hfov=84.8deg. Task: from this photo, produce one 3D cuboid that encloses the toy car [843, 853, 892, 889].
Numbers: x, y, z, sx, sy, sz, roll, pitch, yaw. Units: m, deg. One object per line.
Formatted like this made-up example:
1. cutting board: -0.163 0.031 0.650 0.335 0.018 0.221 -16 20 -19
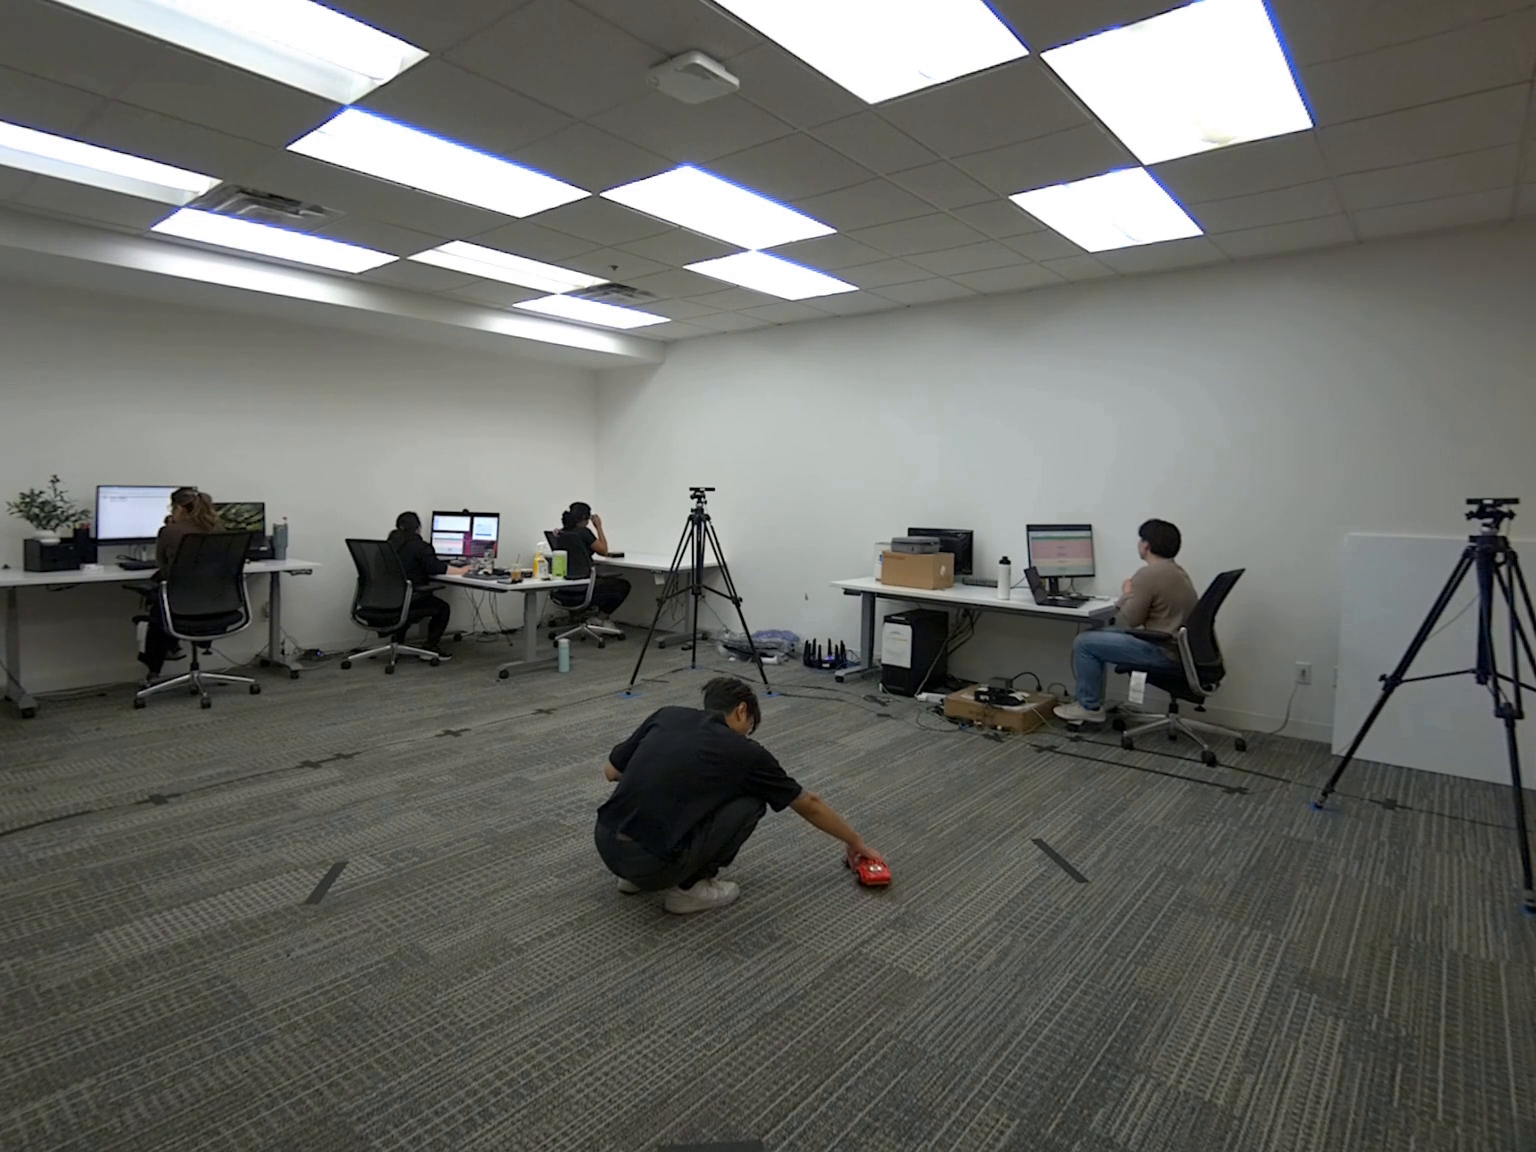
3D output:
1. toy car: 0.352 1.054 3.064 0.129 0.084 0.255 1 -7 -12
